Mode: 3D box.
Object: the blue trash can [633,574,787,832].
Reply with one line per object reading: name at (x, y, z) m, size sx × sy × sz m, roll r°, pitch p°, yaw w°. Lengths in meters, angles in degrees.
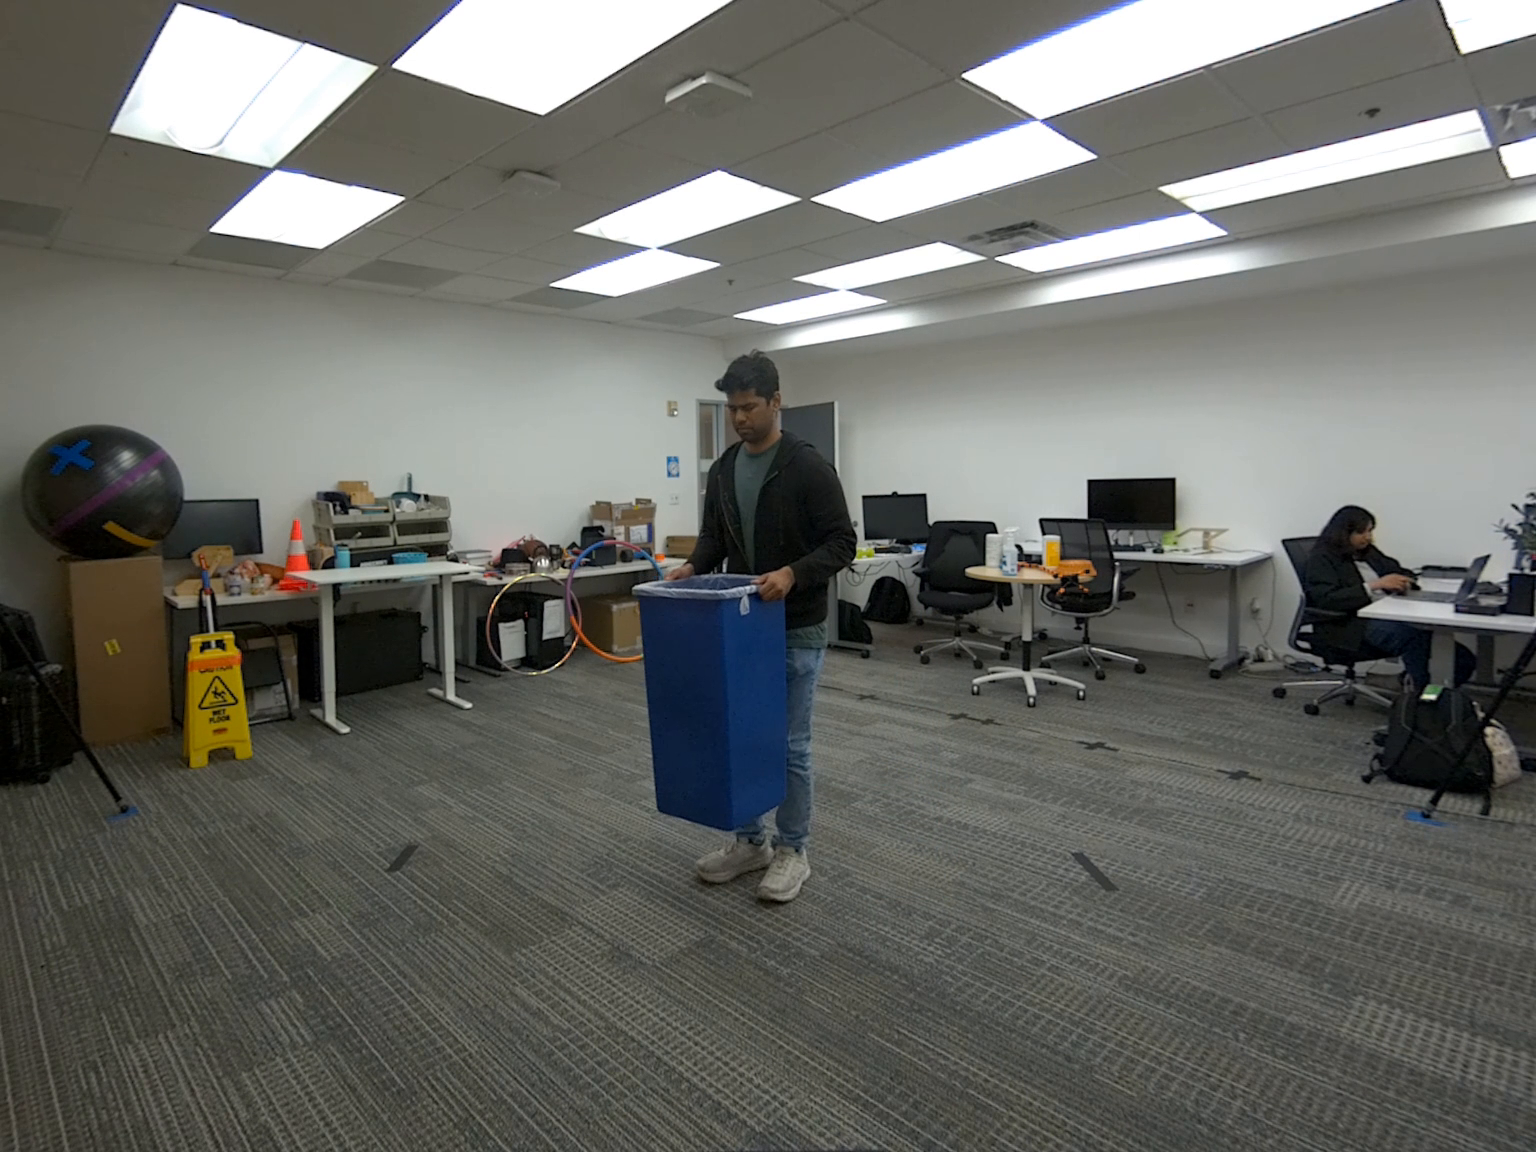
blue trash can at (-0.171, 0.385, 2.681) m, size 0.385 × 0.711 × 0.369 m, roll 1°, pitch 5°, yaw 36°
